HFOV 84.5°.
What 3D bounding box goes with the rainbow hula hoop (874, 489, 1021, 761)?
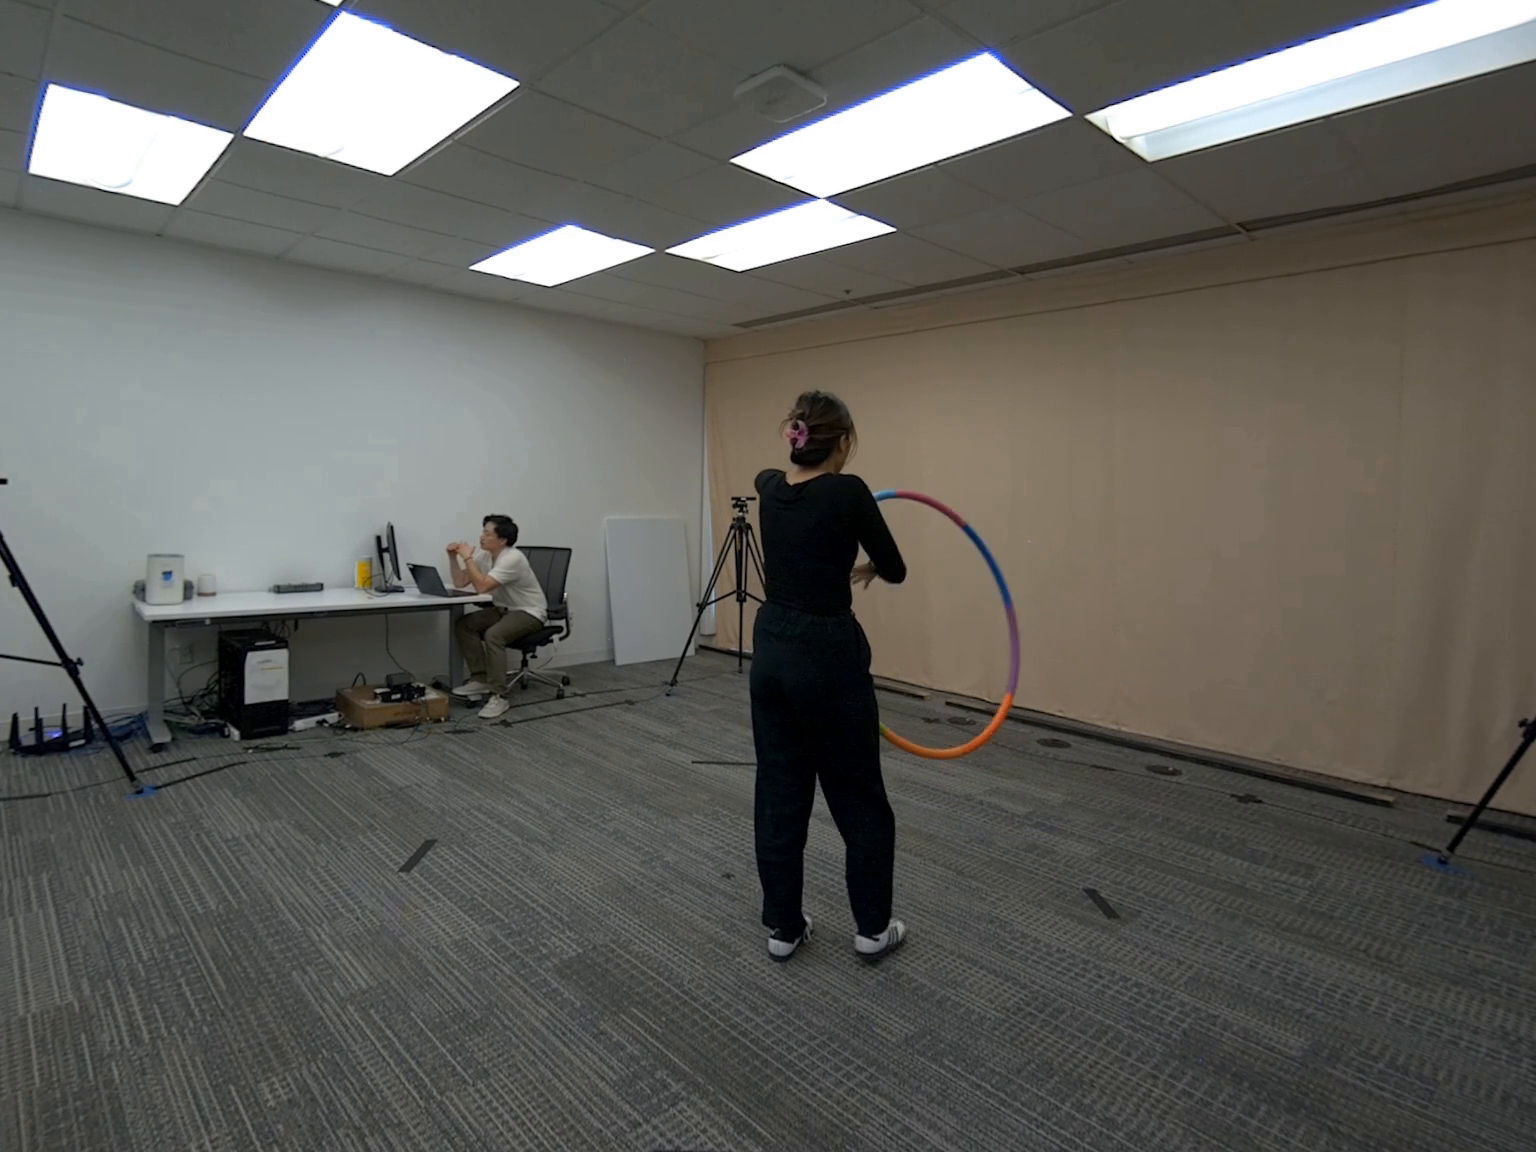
[{"bbox_3d":[0.556,0.160,3.062,0.964,0.995,0.052,-2,-14,-34],"label":"rainbow hula hoop"}]
